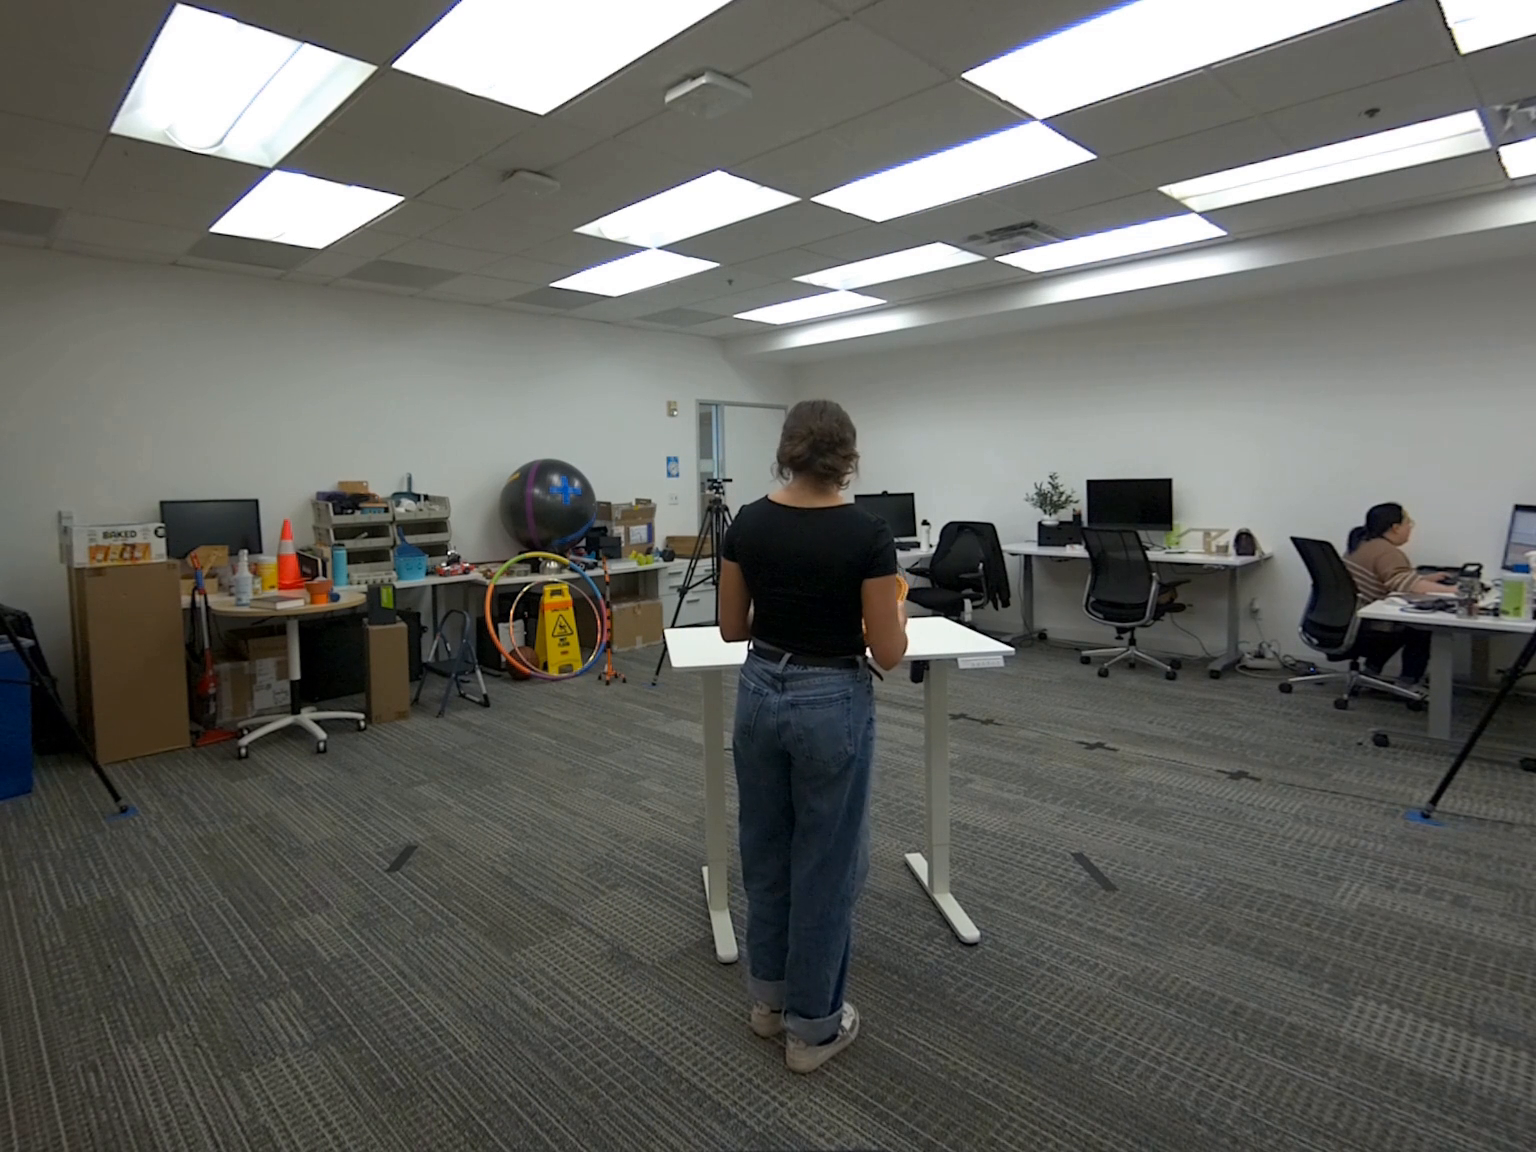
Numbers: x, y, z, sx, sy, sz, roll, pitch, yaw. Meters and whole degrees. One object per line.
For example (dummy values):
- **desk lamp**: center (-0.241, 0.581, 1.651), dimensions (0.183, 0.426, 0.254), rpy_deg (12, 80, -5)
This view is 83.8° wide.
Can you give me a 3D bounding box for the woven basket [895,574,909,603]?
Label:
- **woven basket**: center (0.247, 0.098, 2.288), dimensions (0.260, 0.072, 0.348), rpy_deg (7, 31, 36)
